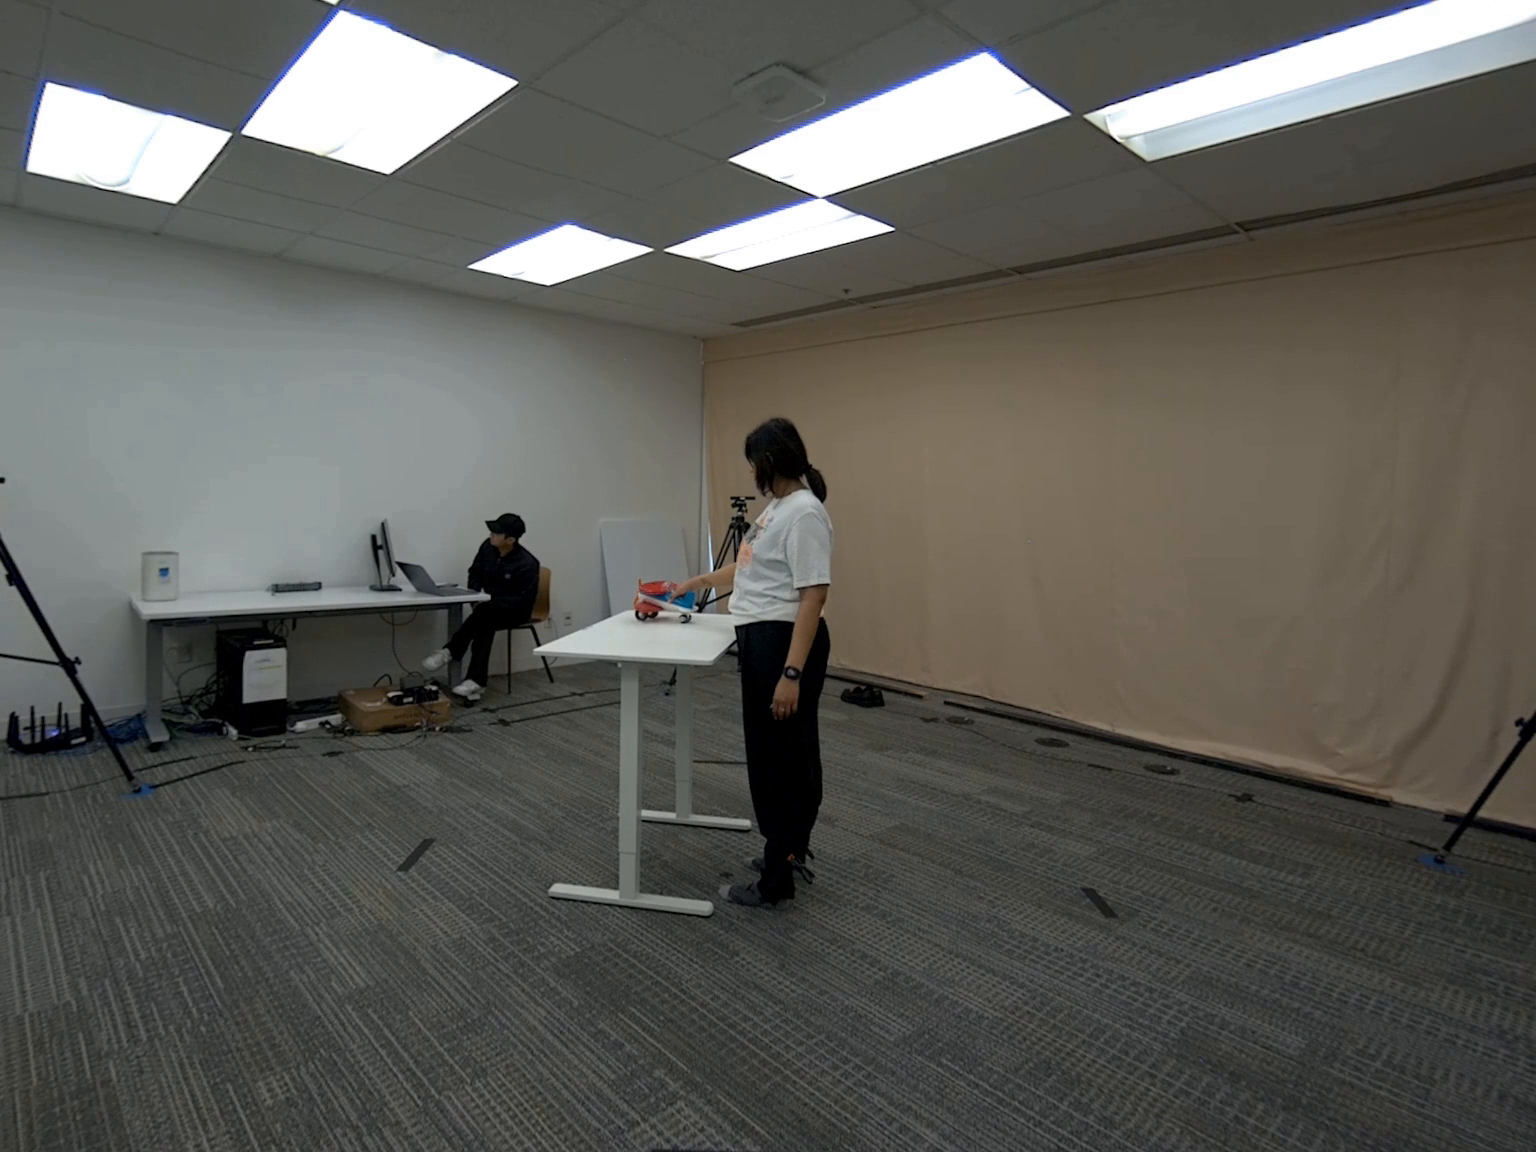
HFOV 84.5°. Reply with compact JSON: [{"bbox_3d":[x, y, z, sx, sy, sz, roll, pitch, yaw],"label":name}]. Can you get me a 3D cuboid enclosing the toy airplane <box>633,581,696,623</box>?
[{"bbox_3d":[-0.424,0.105,3.460,0.258,0.156,0.253,-1,5,-7],"label":"toy airplane"}]
